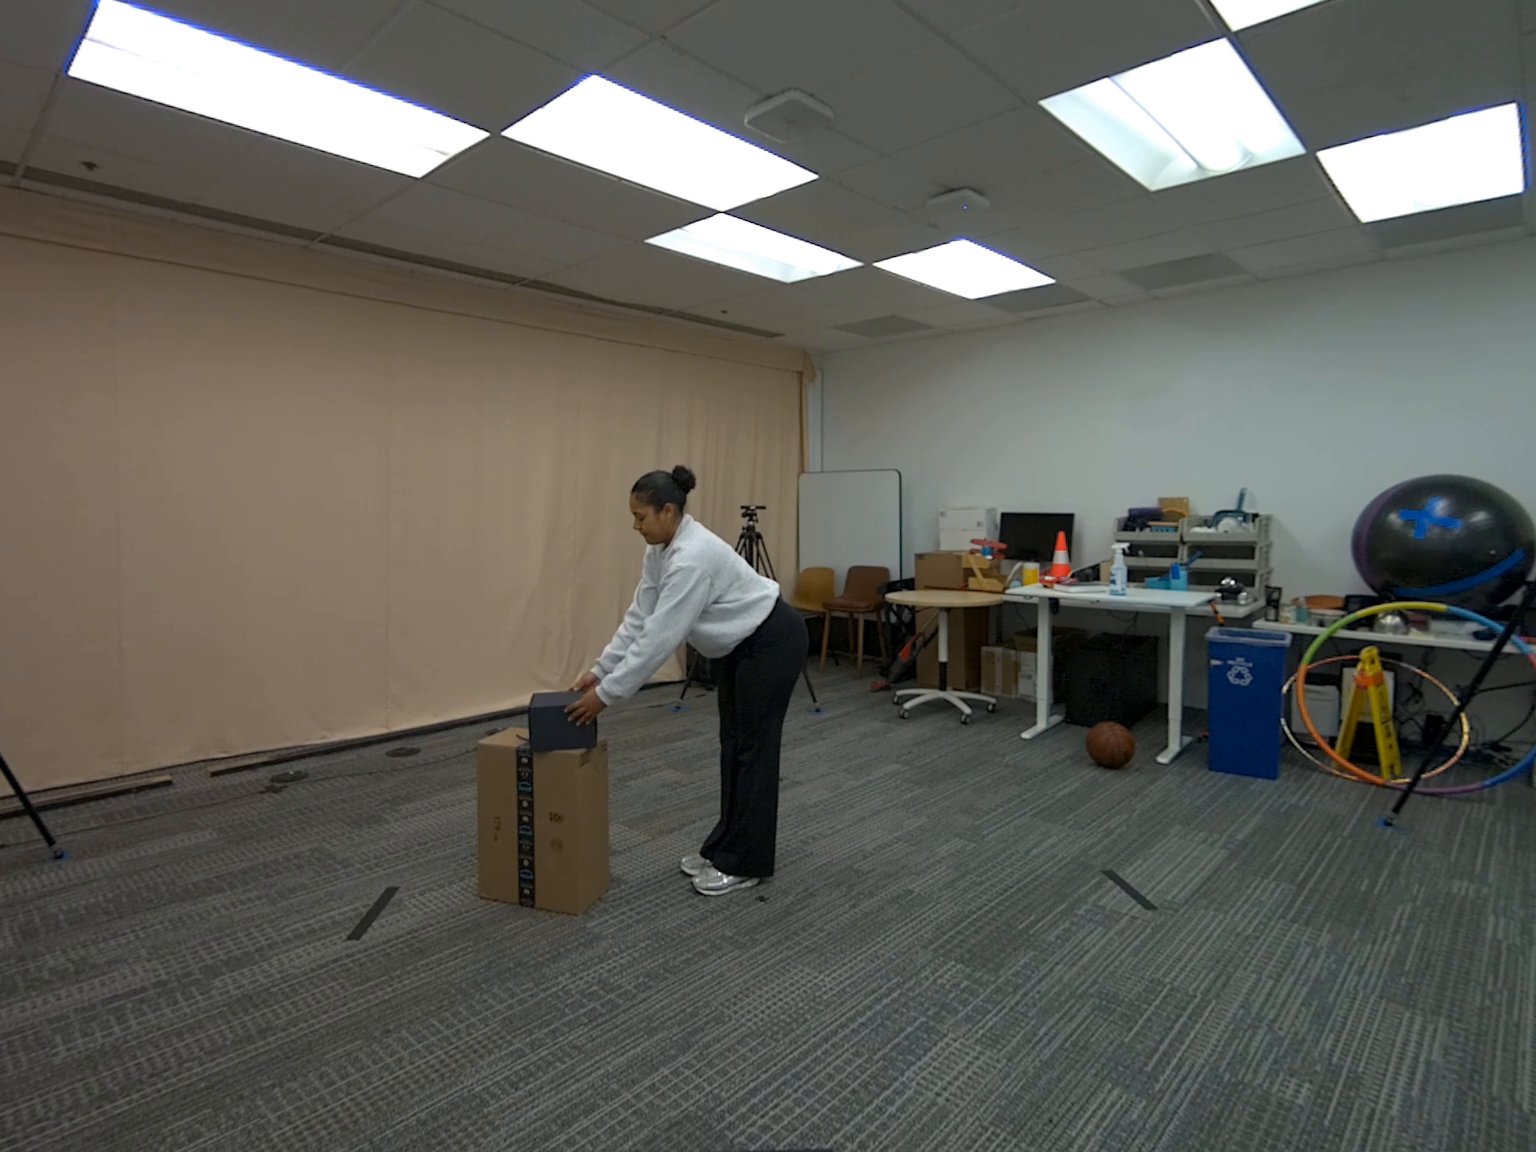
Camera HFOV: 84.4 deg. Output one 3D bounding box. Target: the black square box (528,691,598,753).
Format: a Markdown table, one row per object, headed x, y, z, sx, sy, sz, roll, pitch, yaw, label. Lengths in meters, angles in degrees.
| x | y | z | sx | sy | sz | roll | pitch | yaw | label |
| --- | --- | --- | --- | --- | --- | --- | --- | --- | --- |
| -0.720 | 0.502 | 2.977 | 0.226 | 0.155 | 0.220 | -2 | 5 | -10 | black square box |
